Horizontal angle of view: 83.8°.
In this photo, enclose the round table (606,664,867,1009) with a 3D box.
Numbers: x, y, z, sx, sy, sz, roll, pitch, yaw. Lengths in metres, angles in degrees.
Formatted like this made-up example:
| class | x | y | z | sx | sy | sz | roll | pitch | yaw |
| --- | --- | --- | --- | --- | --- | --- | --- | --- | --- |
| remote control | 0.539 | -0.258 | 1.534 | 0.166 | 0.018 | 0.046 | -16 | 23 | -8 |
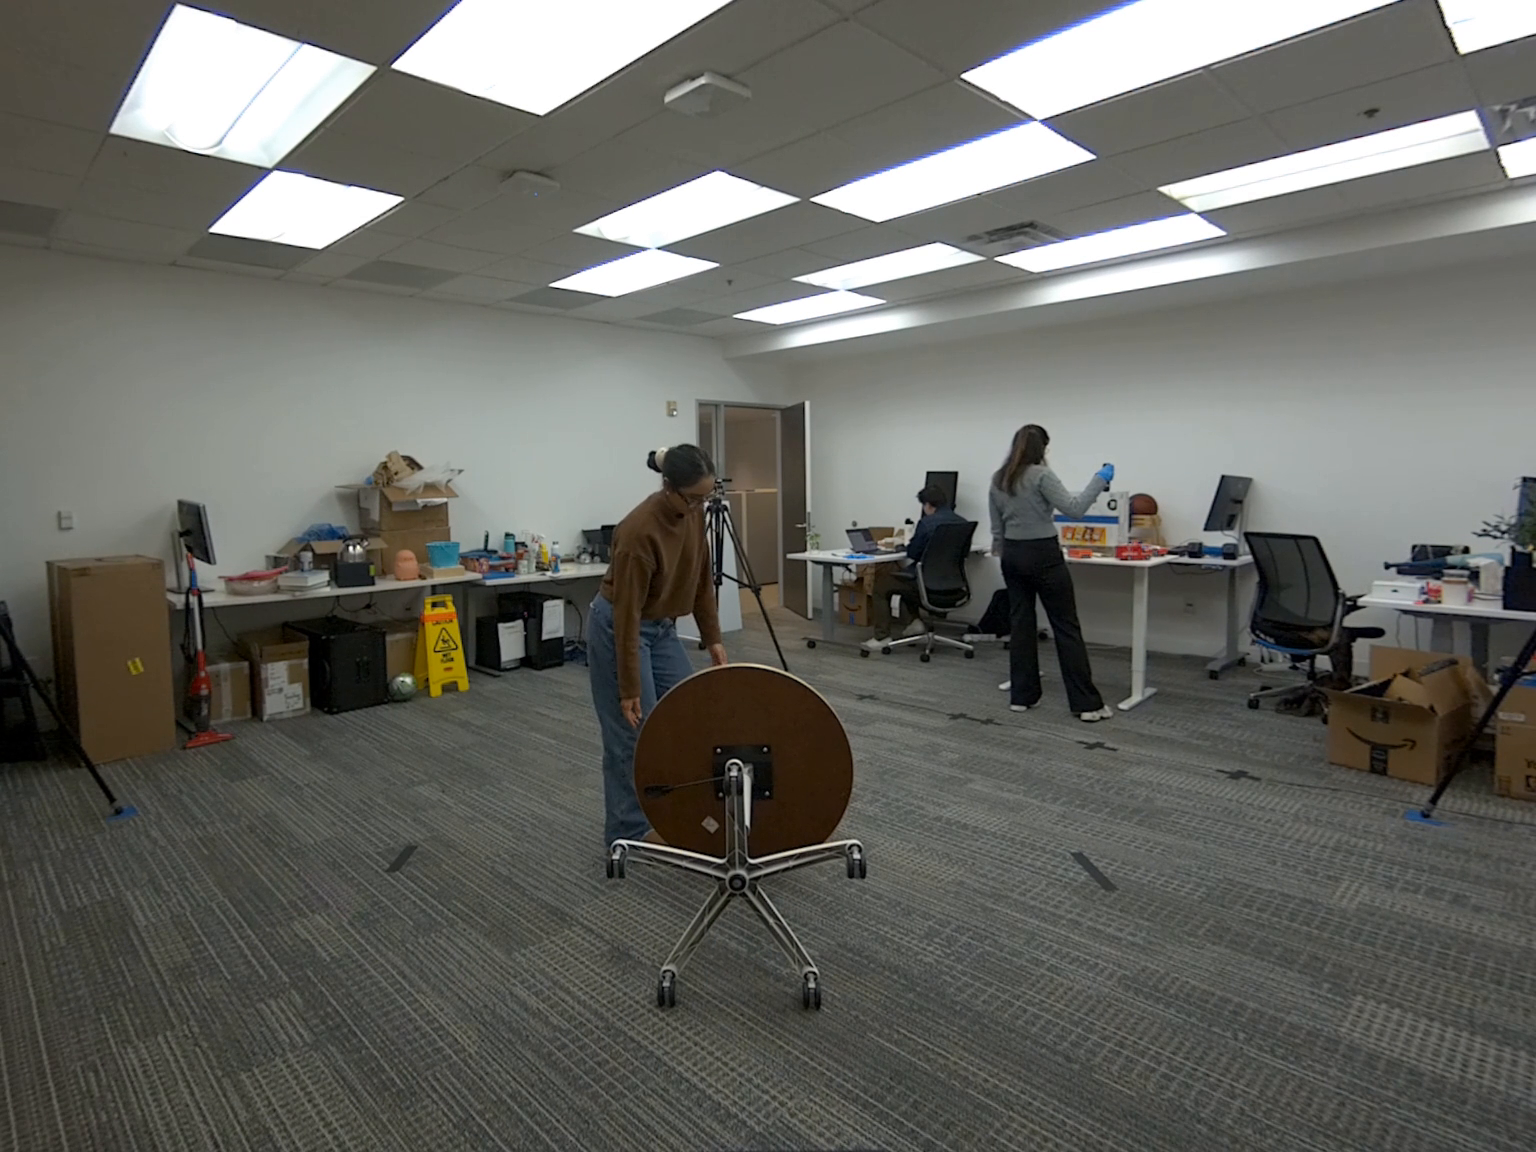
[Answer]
| class | x | y | z | sx | sy | sz | roll | pitch | yaw |
| --- | --- | --- | --- | --- | --- | --- | --- | --- | --- |
| round table | -0.082 | 0.764 | 2.592 | 0.766 | 0.757 | 0.800 | -1 | 10 | 1 |
